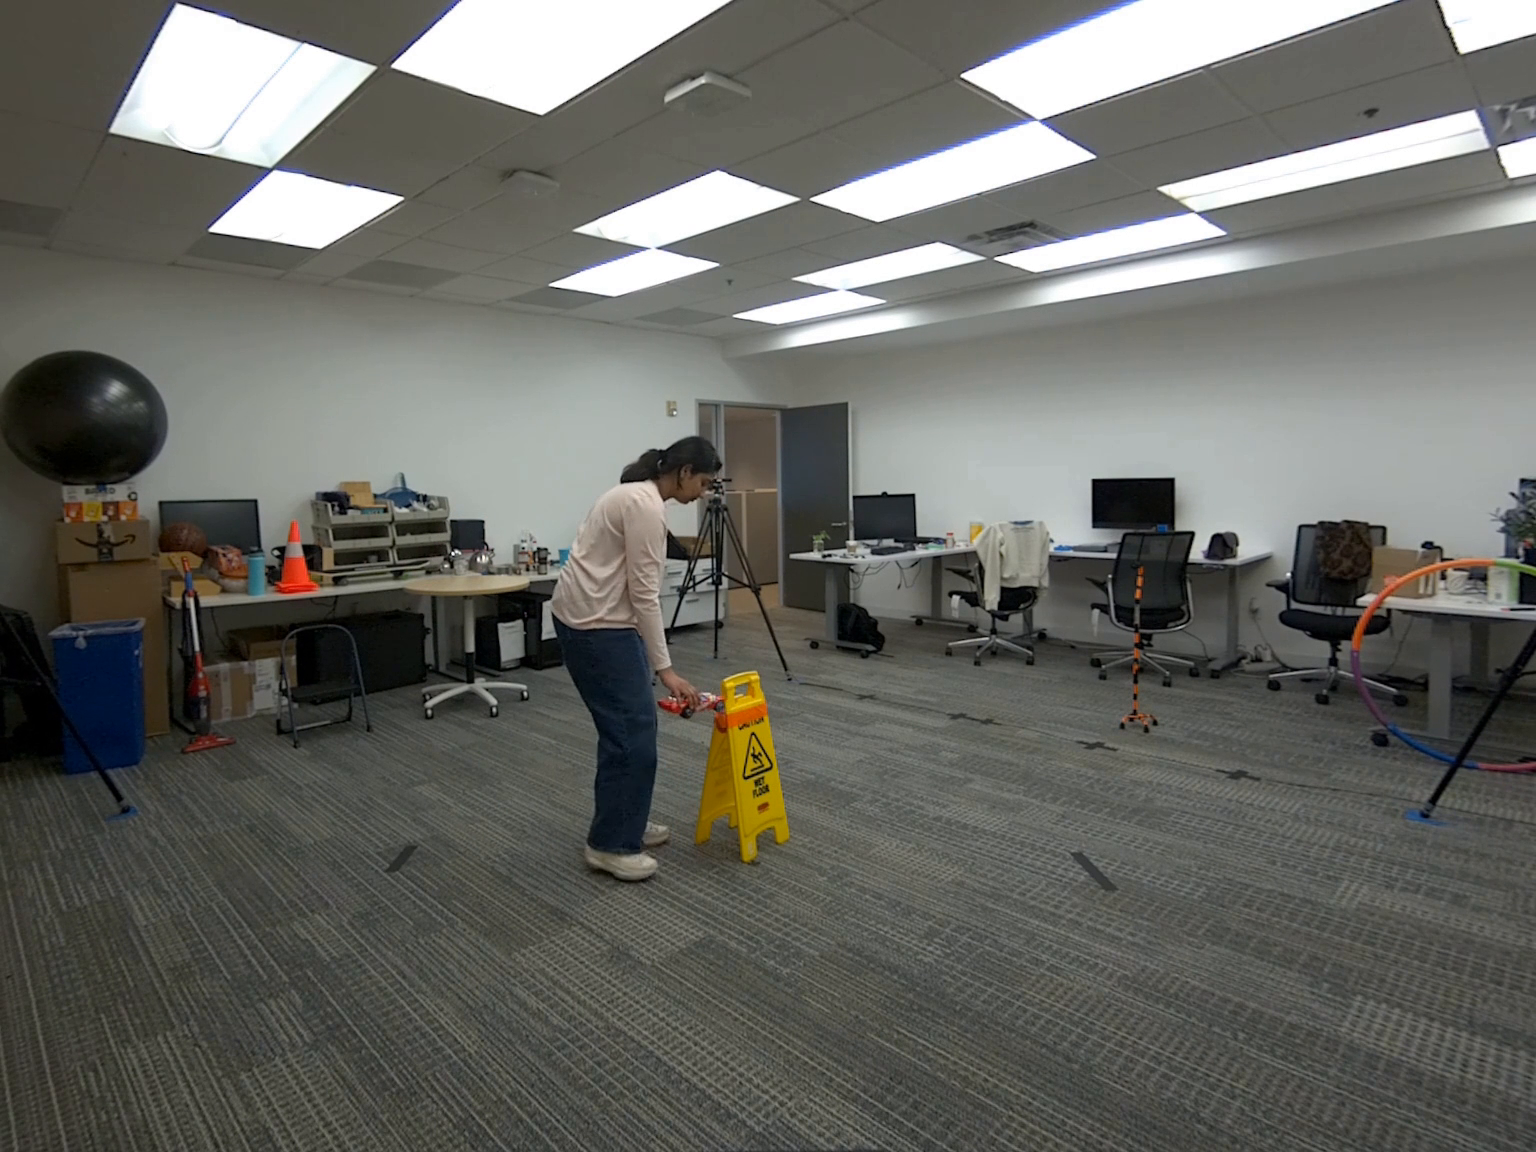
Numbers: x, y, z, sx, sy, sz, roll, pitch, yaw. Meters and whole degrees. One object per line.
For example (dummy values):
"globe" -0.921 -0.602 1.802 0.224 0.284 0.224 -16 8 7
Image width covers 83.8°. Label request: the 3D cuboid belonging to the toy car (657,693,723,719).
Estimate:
"toy car" -0.273 0.450 2.992 0.246 0.083 0.134 9 -1 -42
